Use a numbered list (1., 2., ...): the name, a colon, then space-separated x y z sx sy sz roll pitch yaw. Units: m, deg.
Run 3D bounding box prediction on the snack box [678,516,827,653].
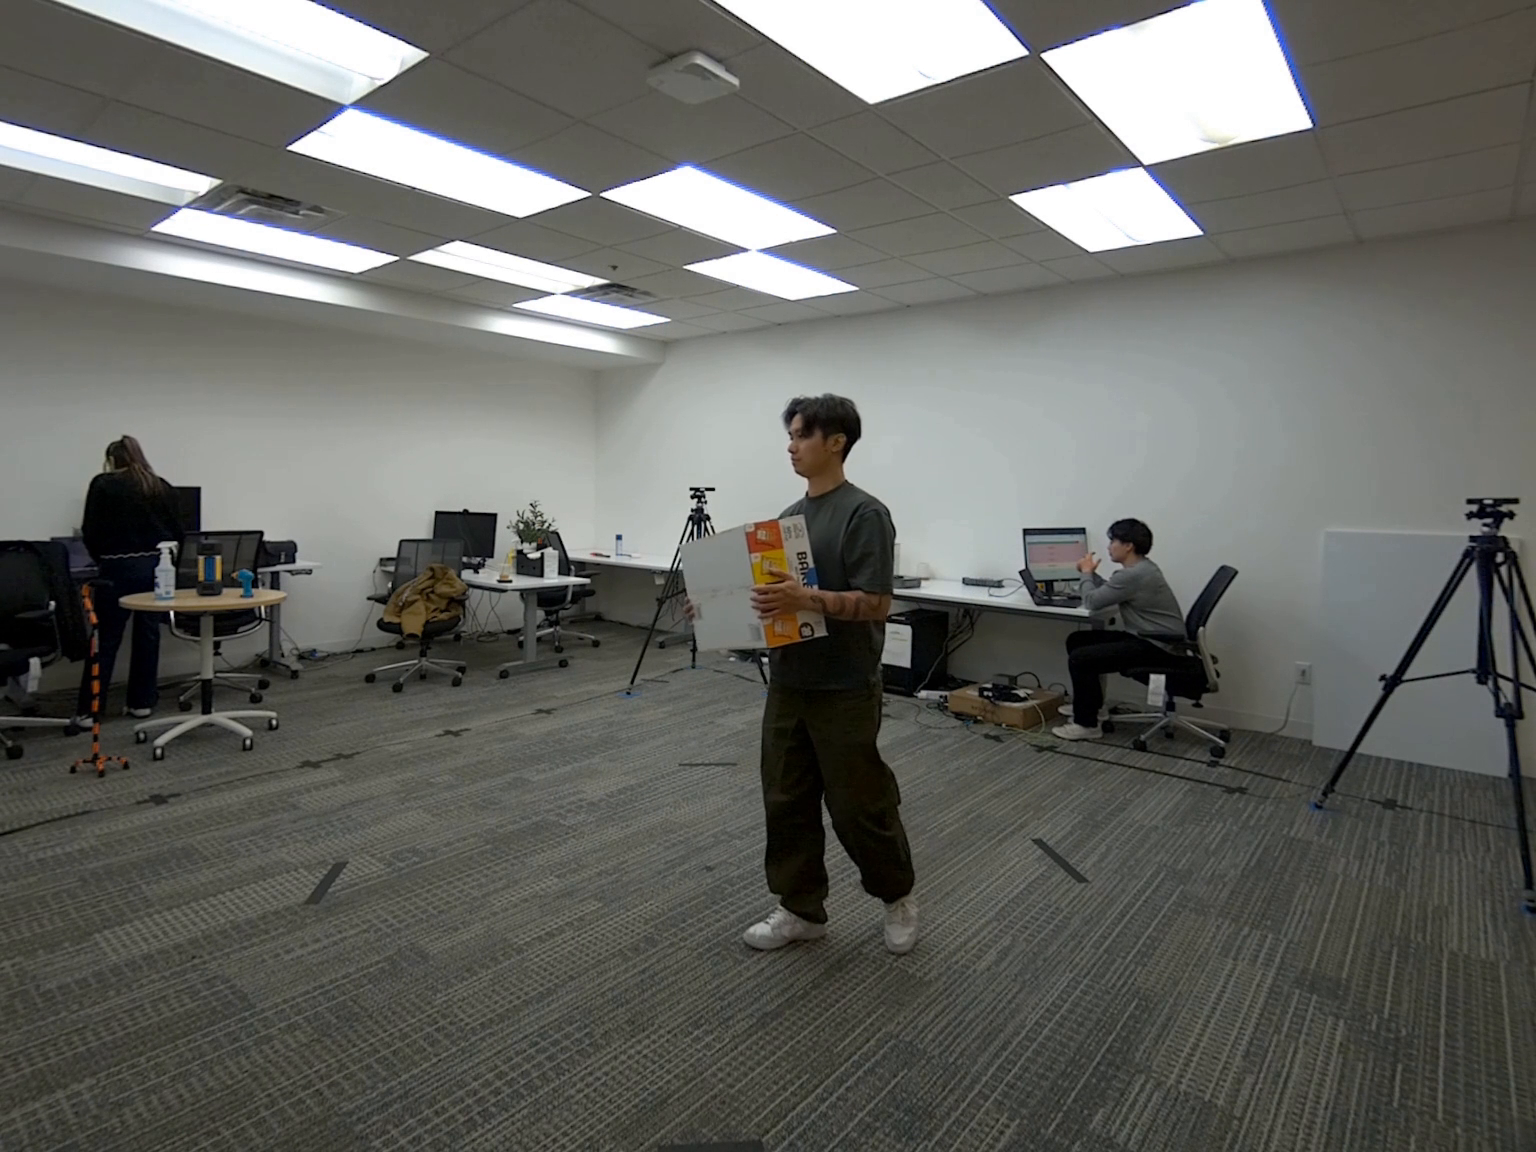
1. snack box: -0.057 0.030 2.492 0.201 0.342 0.413 -8 -4 -32
